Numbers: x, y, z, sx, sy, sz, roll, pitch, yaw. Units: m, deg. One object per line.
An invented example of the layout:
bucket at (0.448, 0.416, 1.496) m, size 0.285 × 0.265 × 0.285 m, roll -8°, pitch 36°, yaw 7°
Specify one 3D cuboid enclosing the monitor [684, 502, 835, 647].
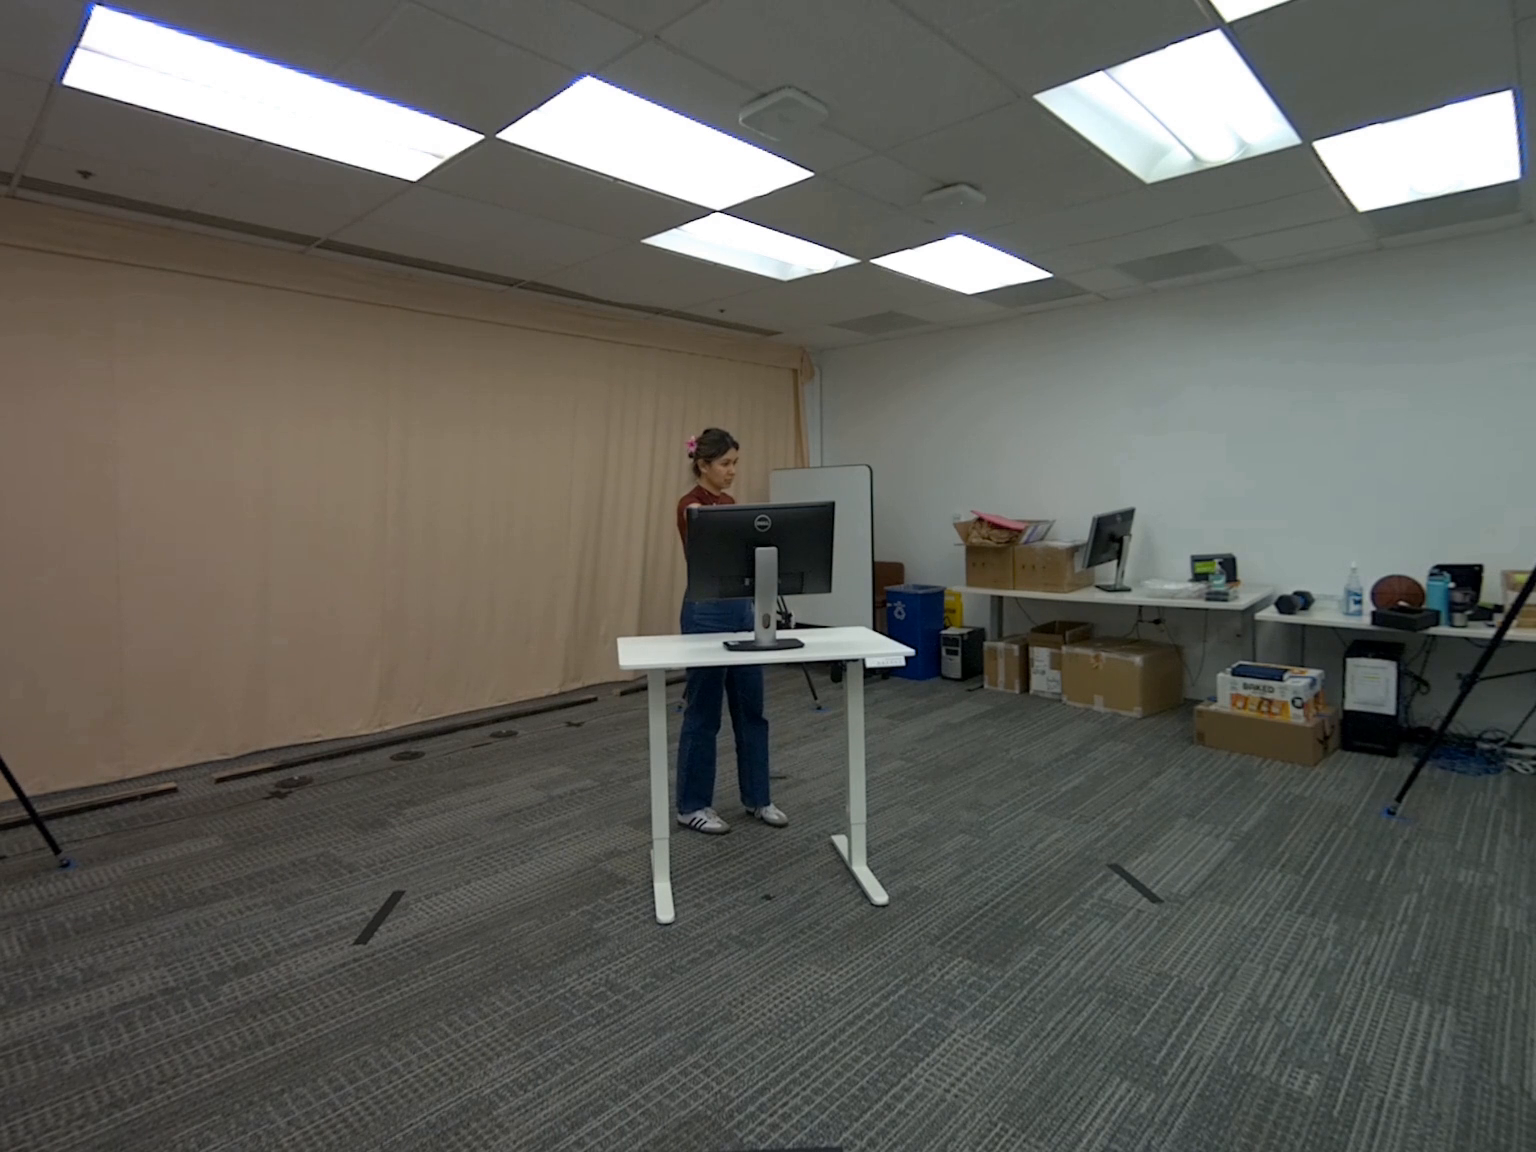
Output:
monitor at (-0.010, 0.004, 2.994) m, size 0.534 × 0.521 × 0.189 m, roll -2°, pitch 5°, yaw -8°
